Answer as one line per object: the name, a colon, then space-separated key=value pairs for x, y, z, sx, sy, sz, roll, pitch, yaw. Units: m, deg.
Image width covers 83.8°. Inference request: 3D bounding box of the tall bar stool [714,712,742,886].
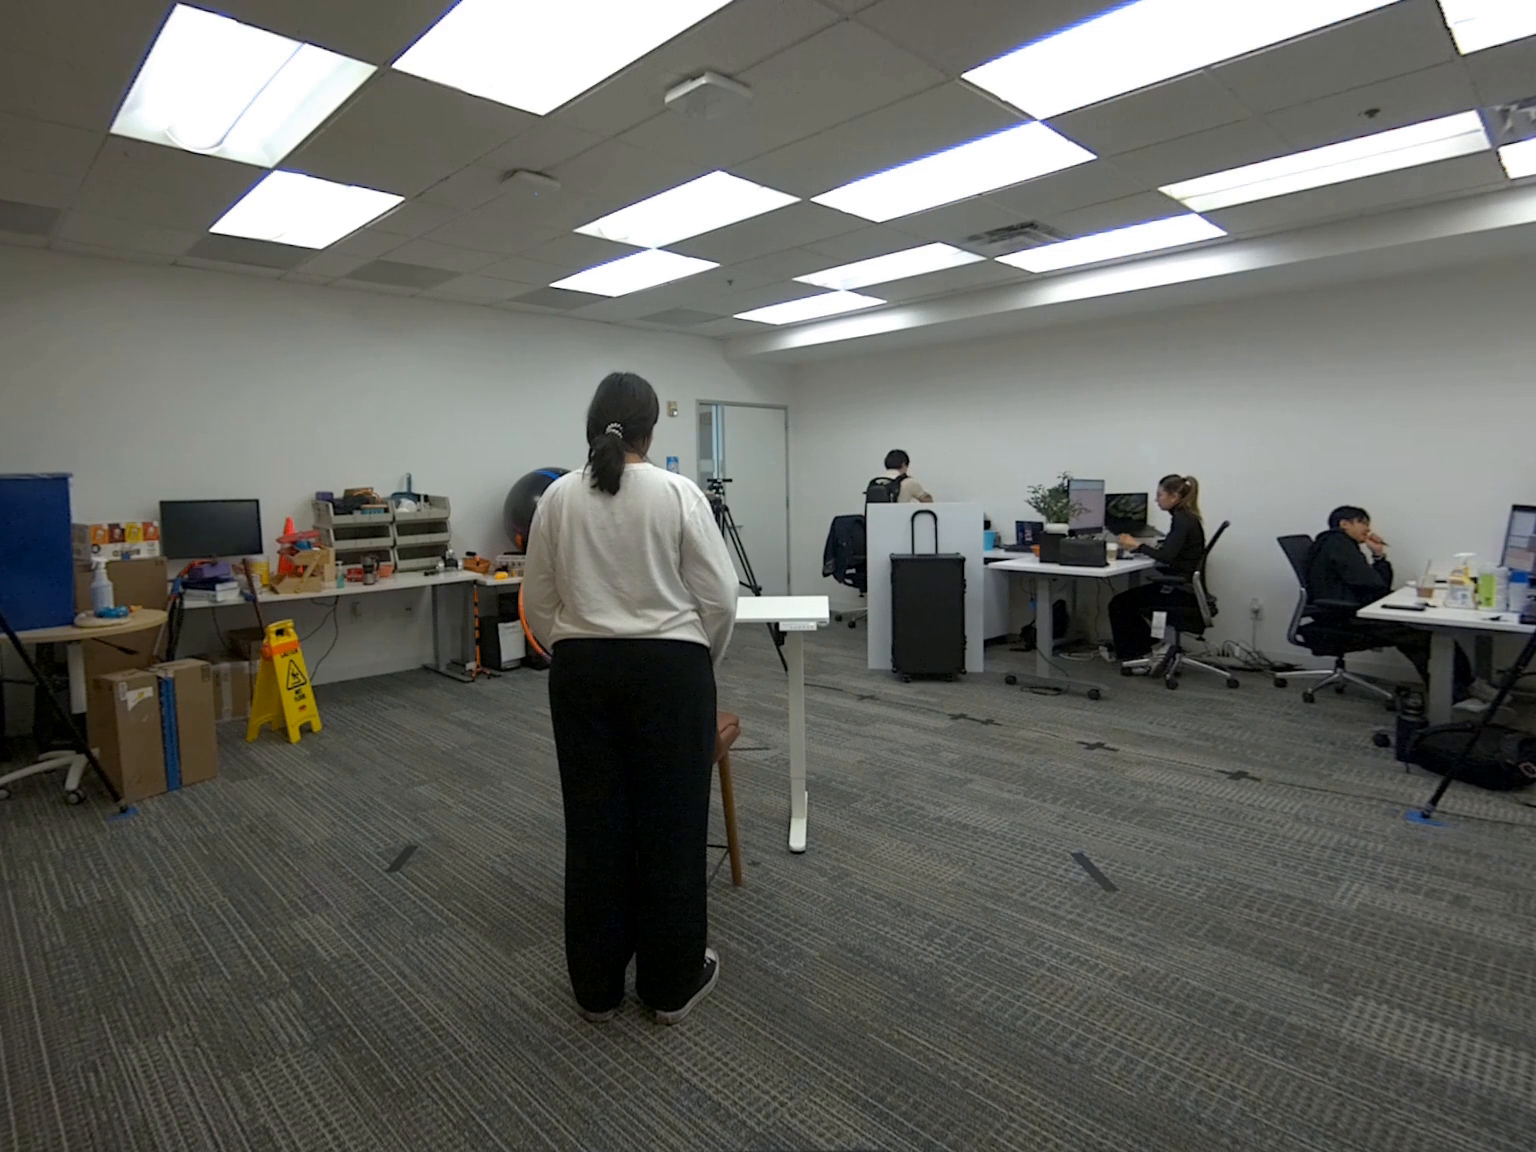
tall bar stool: x=-0.322 y=0.656 z=2.746 sx=0.462 sy=0.884 sz=0.465 roll=1 pitch=8 yaw=12
